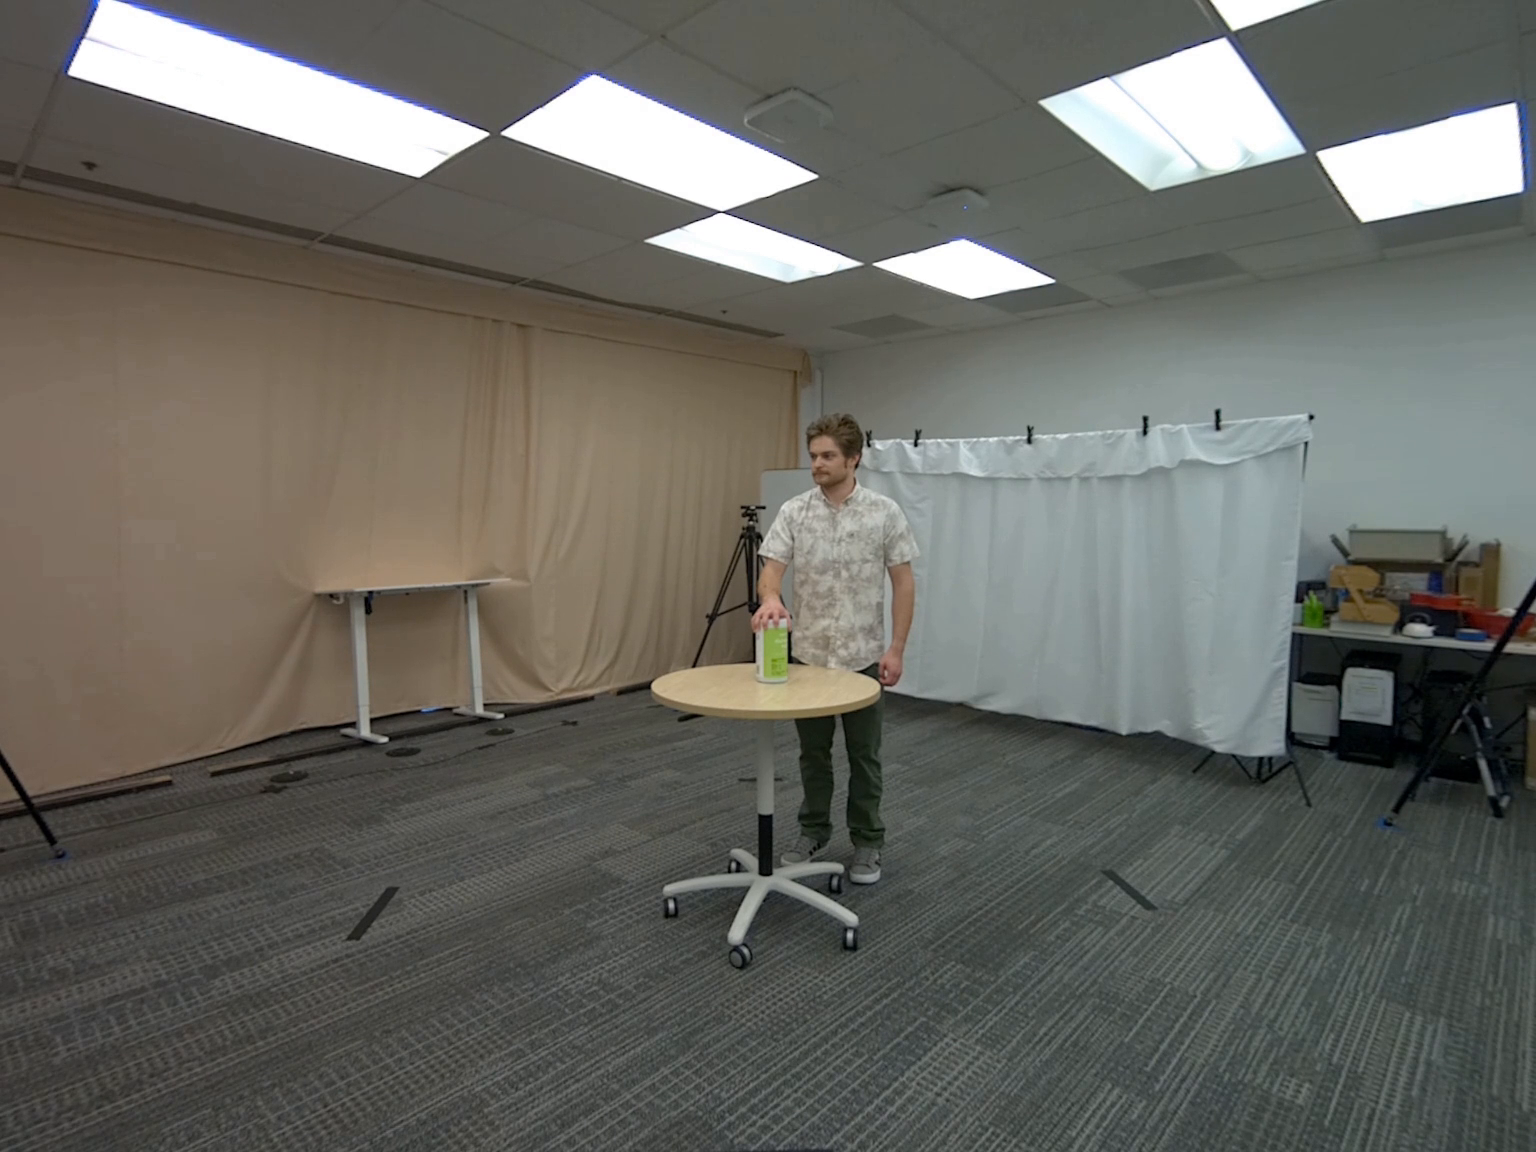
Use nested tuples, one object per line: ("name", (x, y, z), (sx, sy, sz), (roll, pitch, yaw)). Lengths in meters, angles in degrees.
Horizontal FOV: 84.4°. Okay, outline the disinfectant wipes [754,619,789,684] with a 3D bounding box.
("disinfectant wipes", (0.015, 0.254, 2.880), (0.118, 0.217, 0.118), (1, 3, -2))
